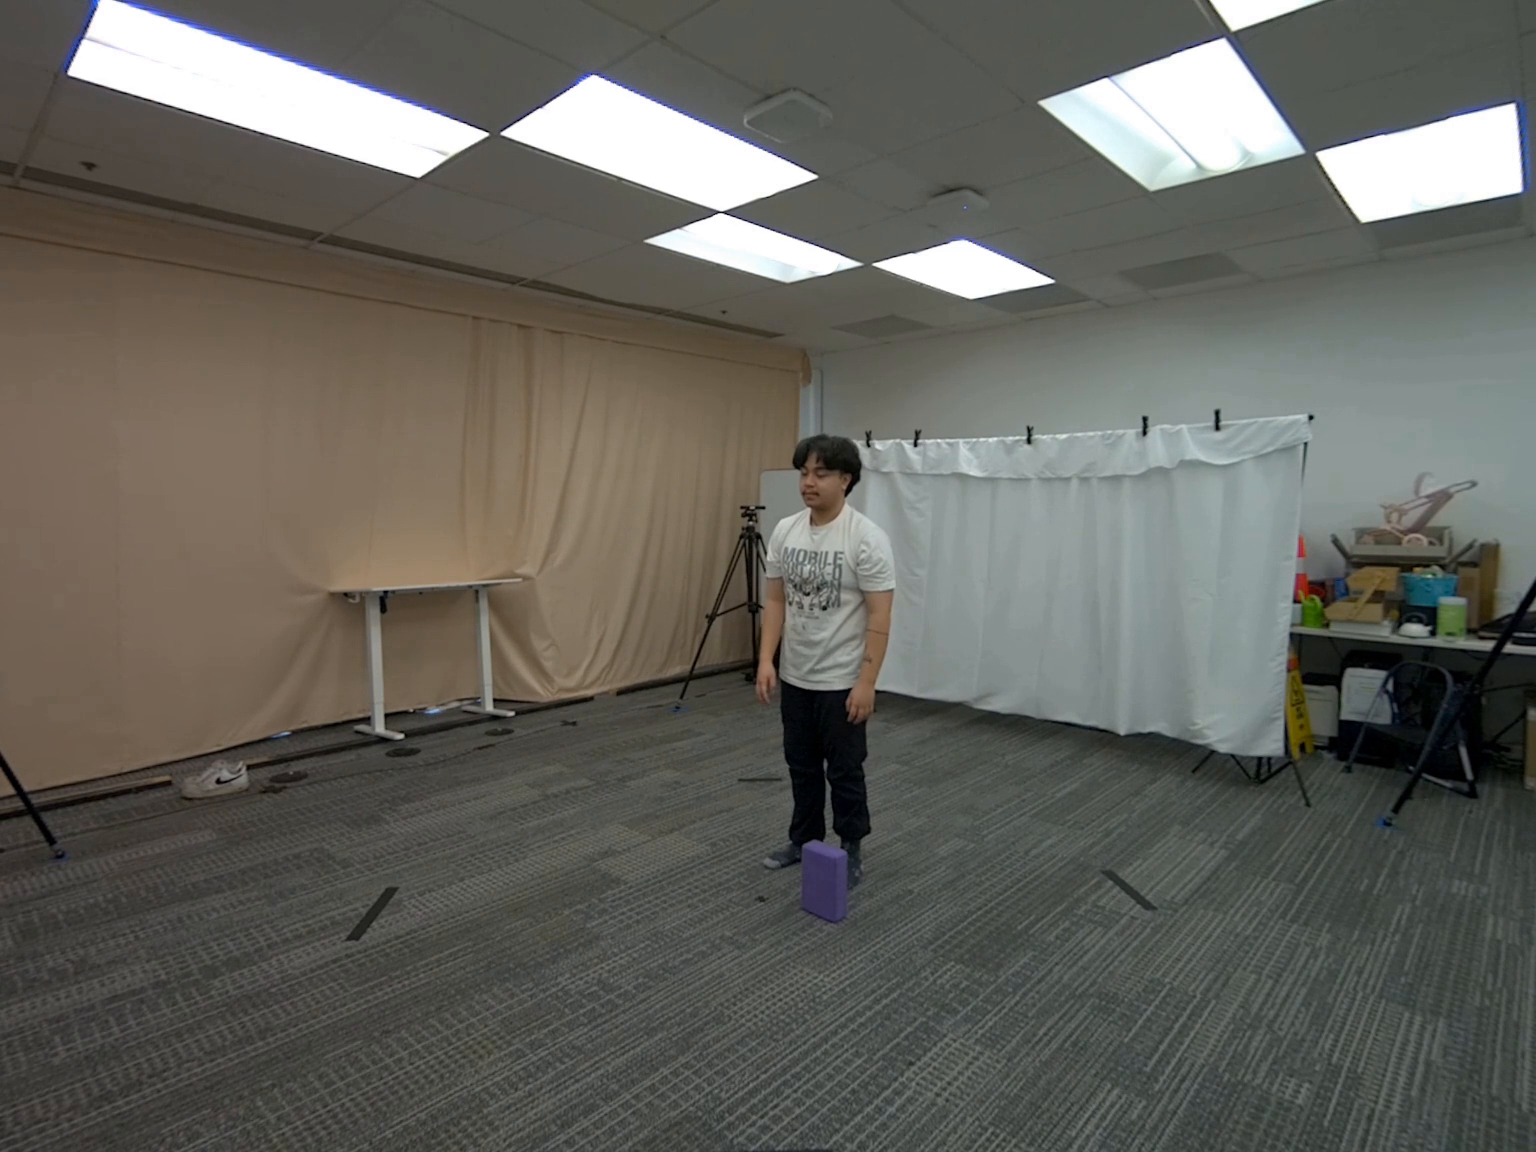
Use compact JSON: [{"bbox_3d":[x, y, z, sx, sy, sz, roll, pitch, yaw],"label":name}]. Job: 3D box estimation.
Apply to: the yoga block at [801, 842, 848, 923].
[{"bbox_3d":[0.194,1.030,2.872,0.154,0.229,0.074,5,5,42],"label":"yoga block"}]
